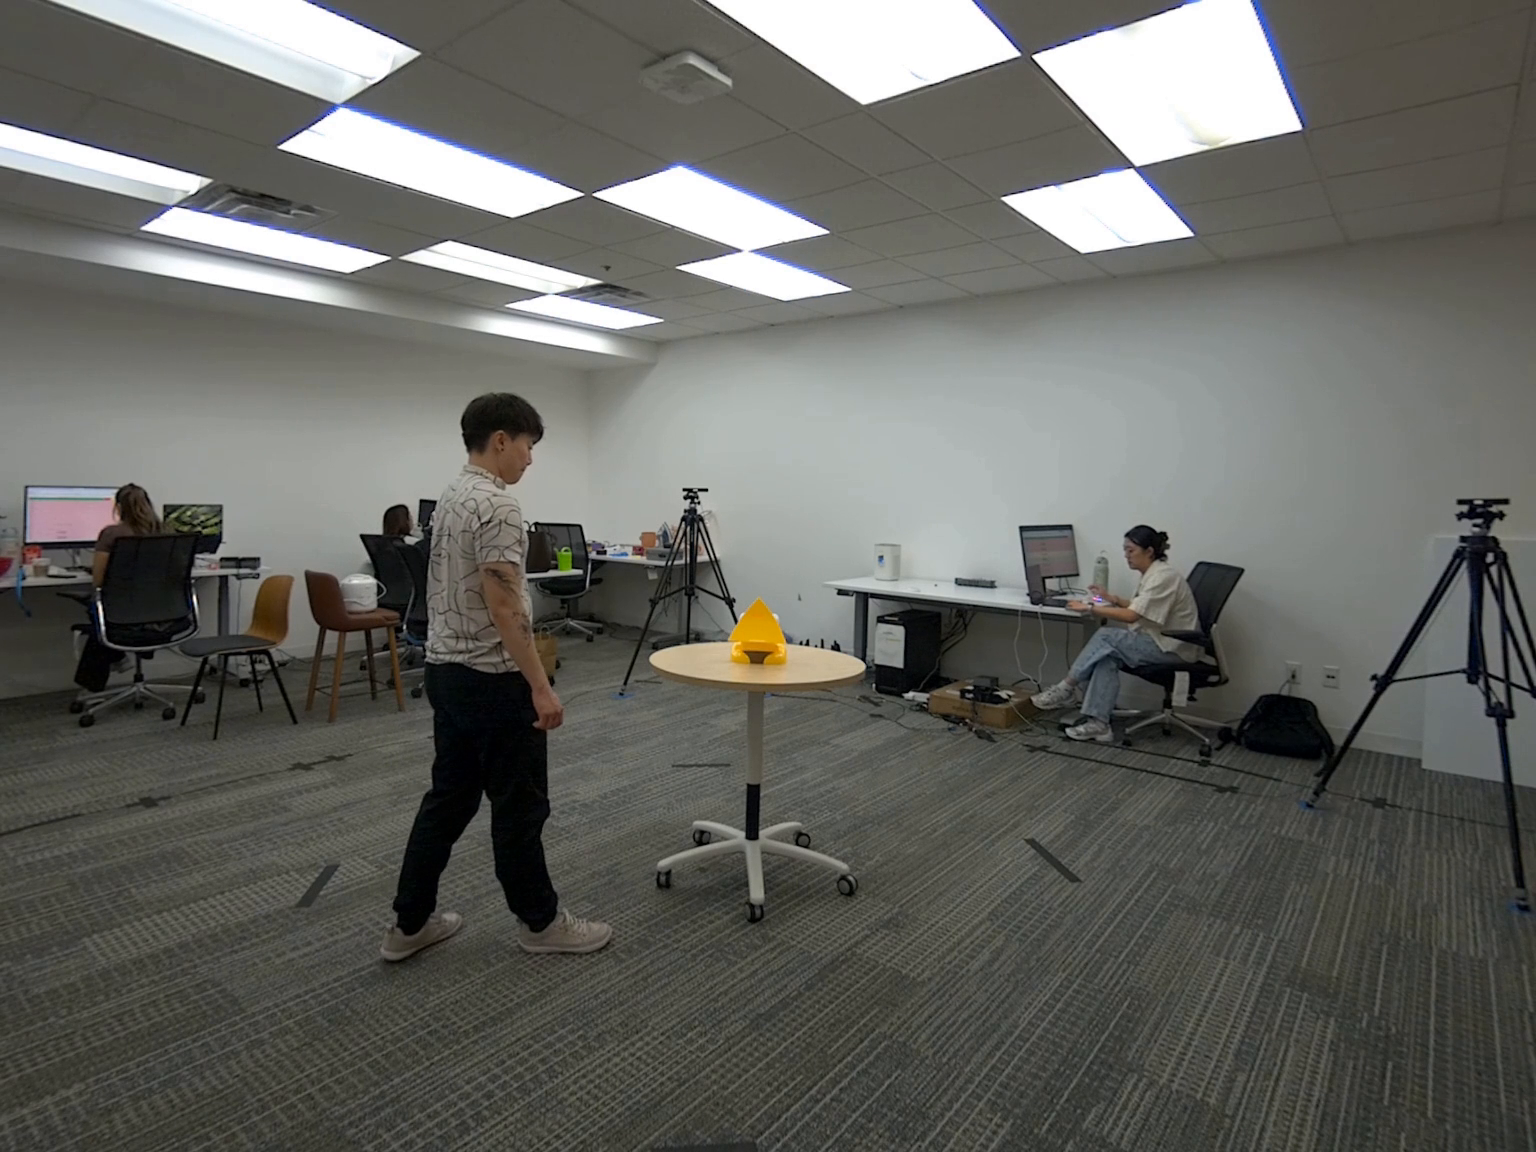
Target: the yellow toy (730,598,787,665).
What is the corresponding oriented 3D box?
[{"bbox_3d":[-0.037,0.183,3.032,0.206,0.230,0.192,2,4,6],"label":"yellow toy"}]
